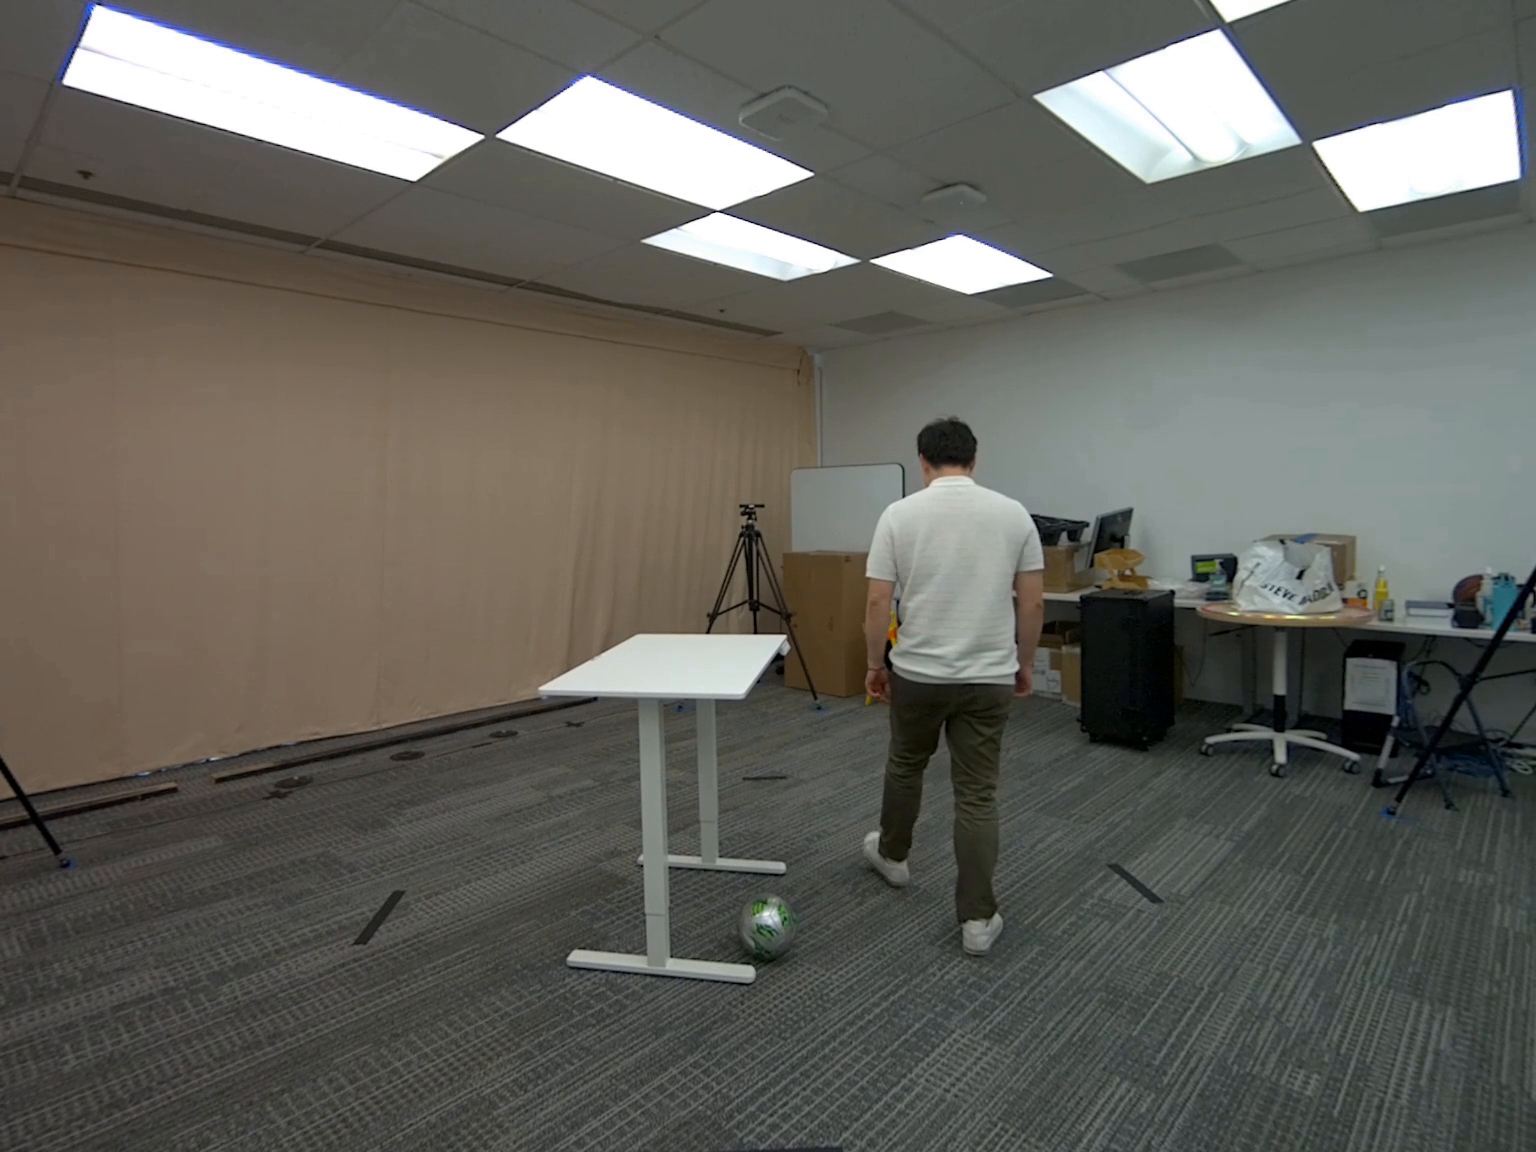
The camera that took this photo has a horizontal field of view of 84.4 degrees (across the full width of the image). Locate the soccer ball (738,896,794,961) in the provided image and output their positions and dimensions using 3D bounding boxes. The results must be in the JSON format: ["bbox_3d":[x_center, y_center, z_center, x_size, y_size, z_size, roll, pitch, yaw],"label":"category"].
[{"bbox_3d":[-0.001,1.077,2.600,0.187,0.187,0.188,-1,4,-2],"label":"soccer ball"}]
